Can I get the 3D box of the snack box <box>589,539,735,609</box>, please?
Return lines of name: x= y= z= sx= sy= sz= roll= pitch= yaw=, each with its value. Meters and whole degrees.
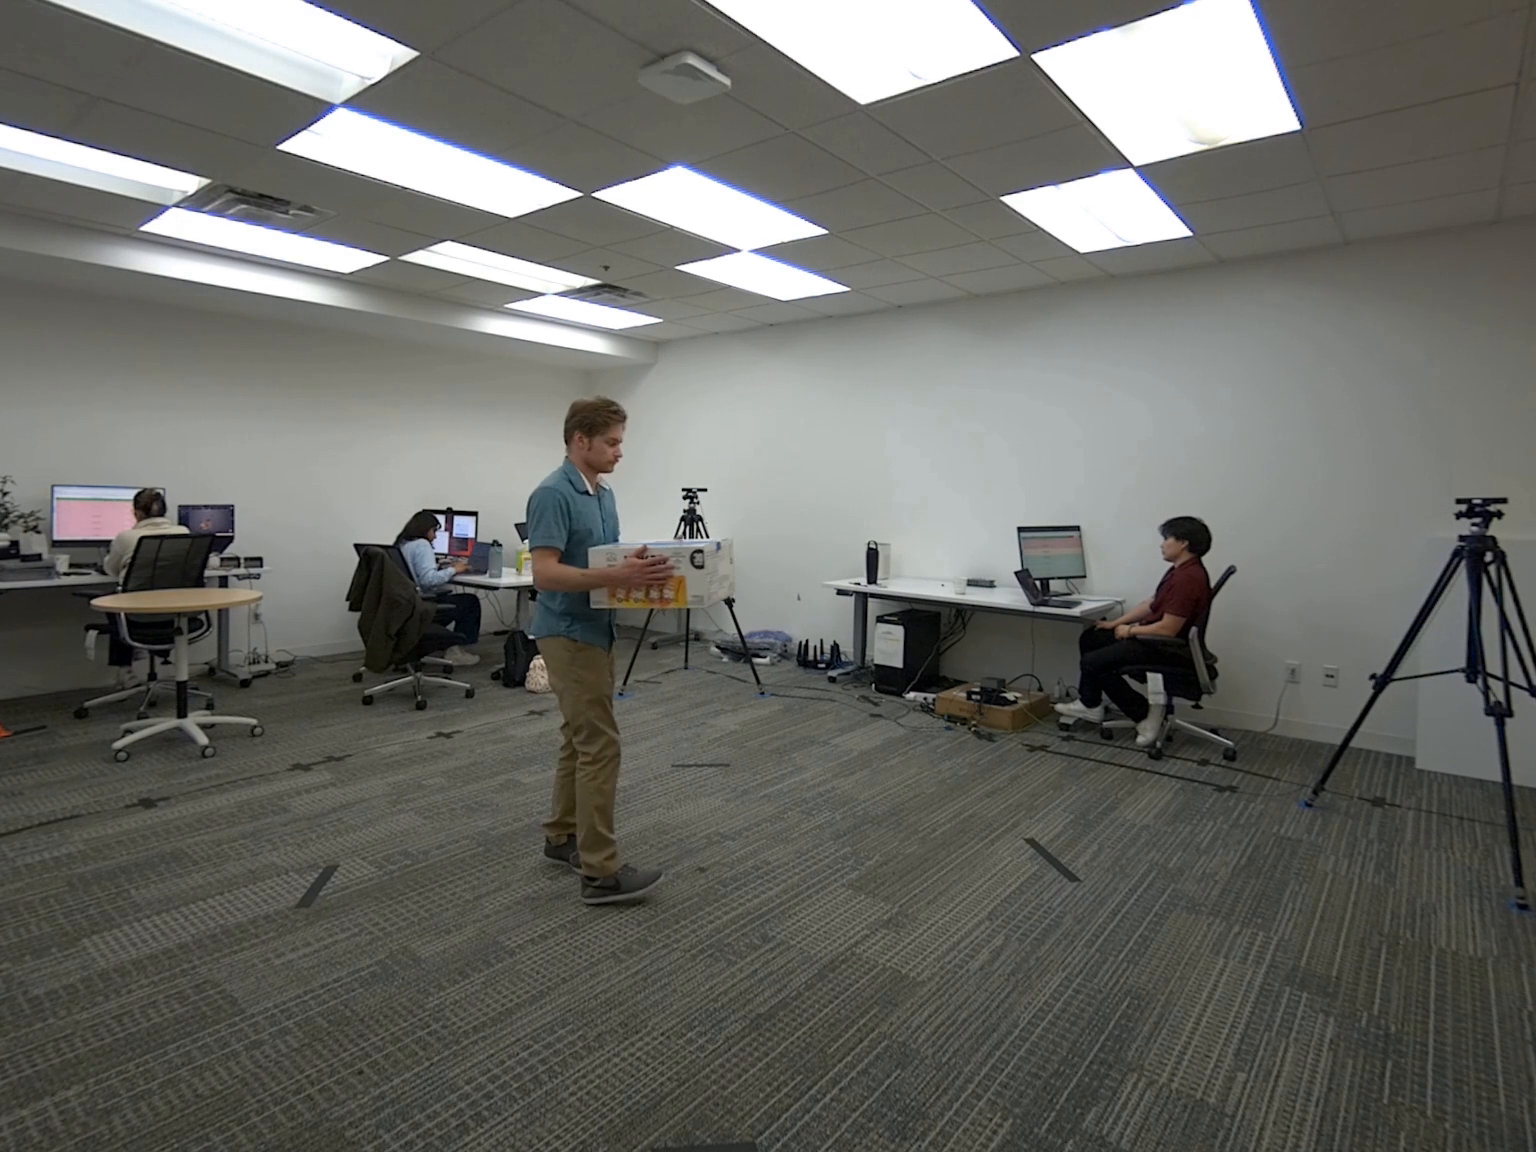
snack box: x=-0.379 y=-0.018 z=2.932 sx=0.411 sy=0.204 sz=0.337 roll=-1 pitch=6 yaw=14
